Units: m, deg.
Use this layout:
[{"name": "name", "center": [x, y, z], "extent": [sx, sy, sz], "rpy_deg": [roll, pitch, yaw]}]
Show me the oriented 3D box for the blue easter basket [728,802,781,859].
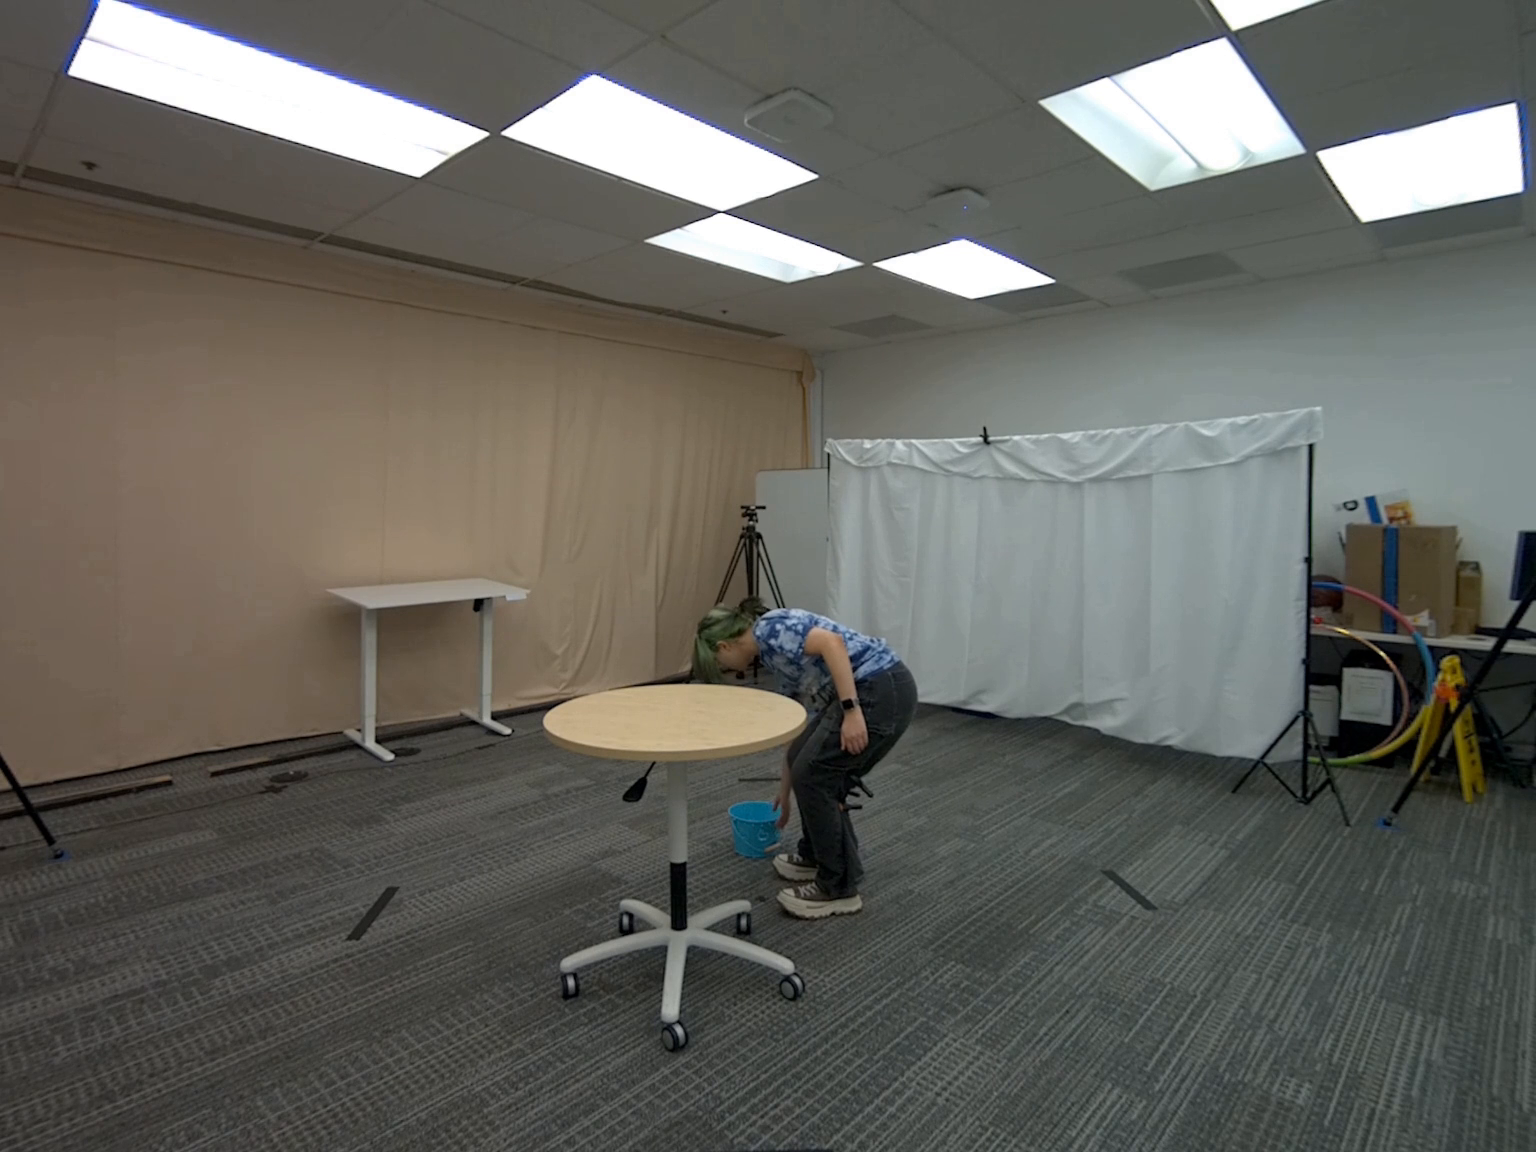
[{"name": "blue easter basket", "center": [-0.046, 1.027, 3.416], "extent": [0.243, 0.155, 0.244], "rpy_deg": [0, 4, -2]}]
